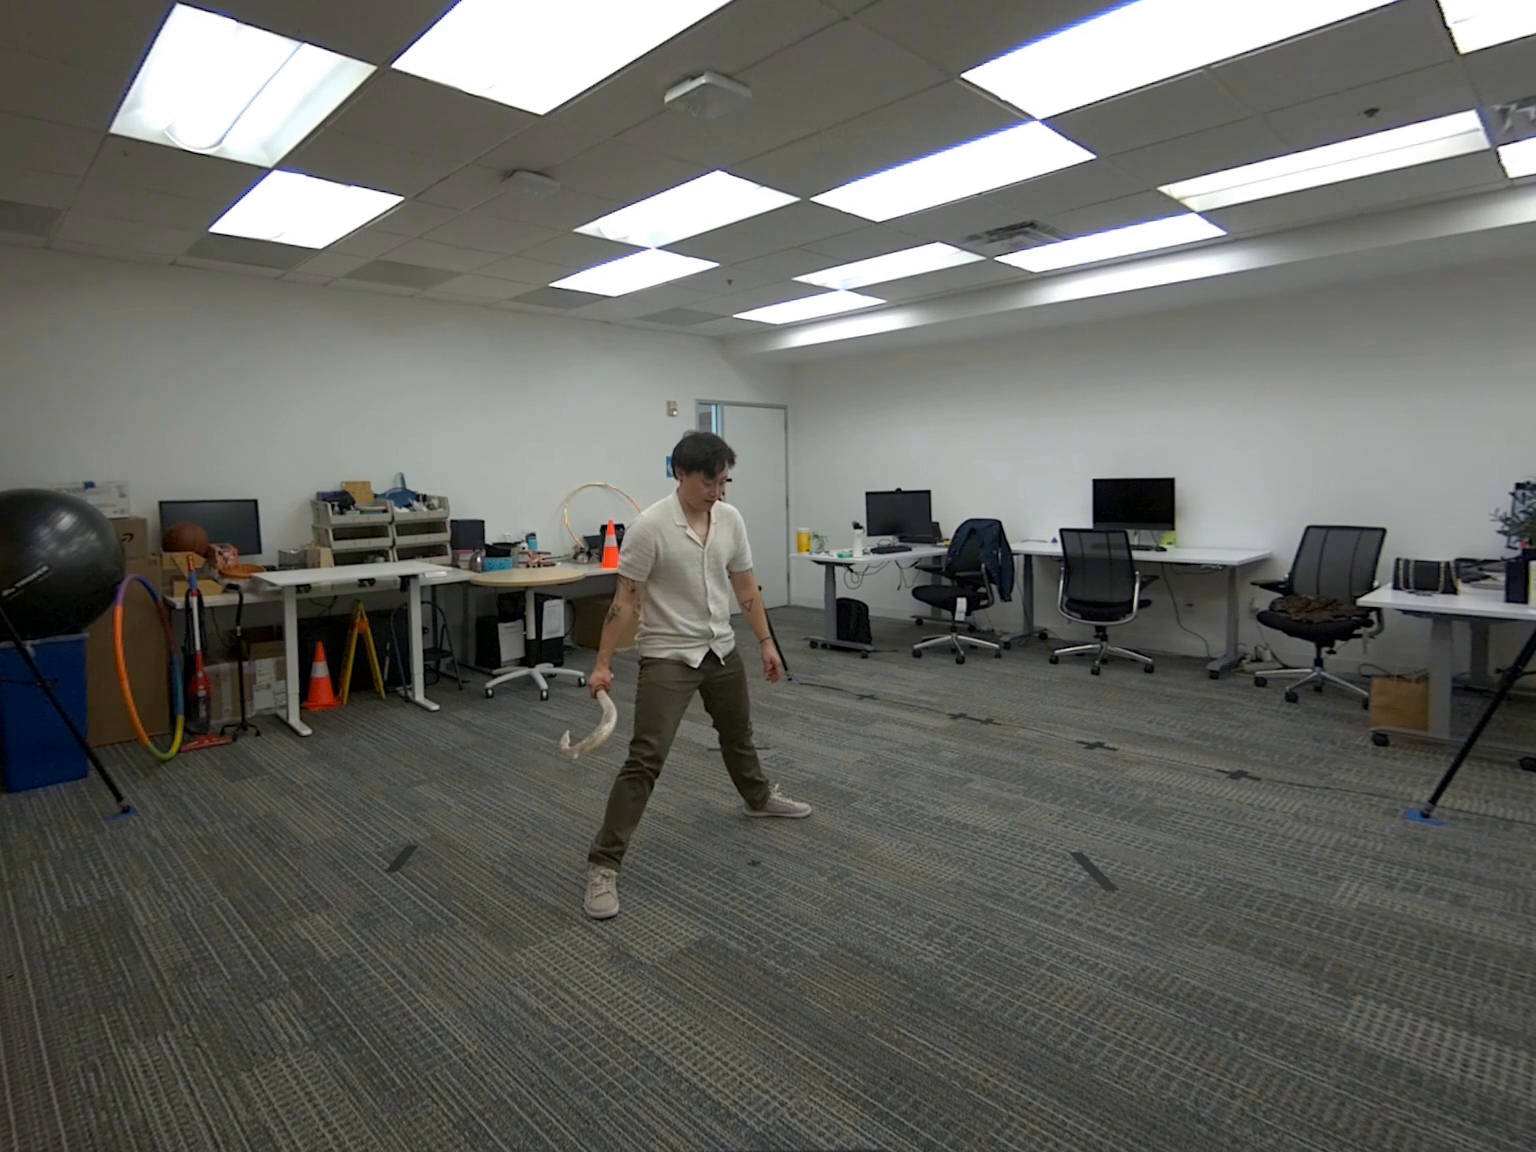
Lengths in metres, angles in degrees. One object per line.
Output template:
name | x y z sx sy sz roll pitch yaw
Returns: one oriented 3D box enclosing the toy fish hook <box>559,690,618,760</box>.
toy fish hook | -0.604 0.454 2.865 0.225 0.047 0.518 -30 22 1
